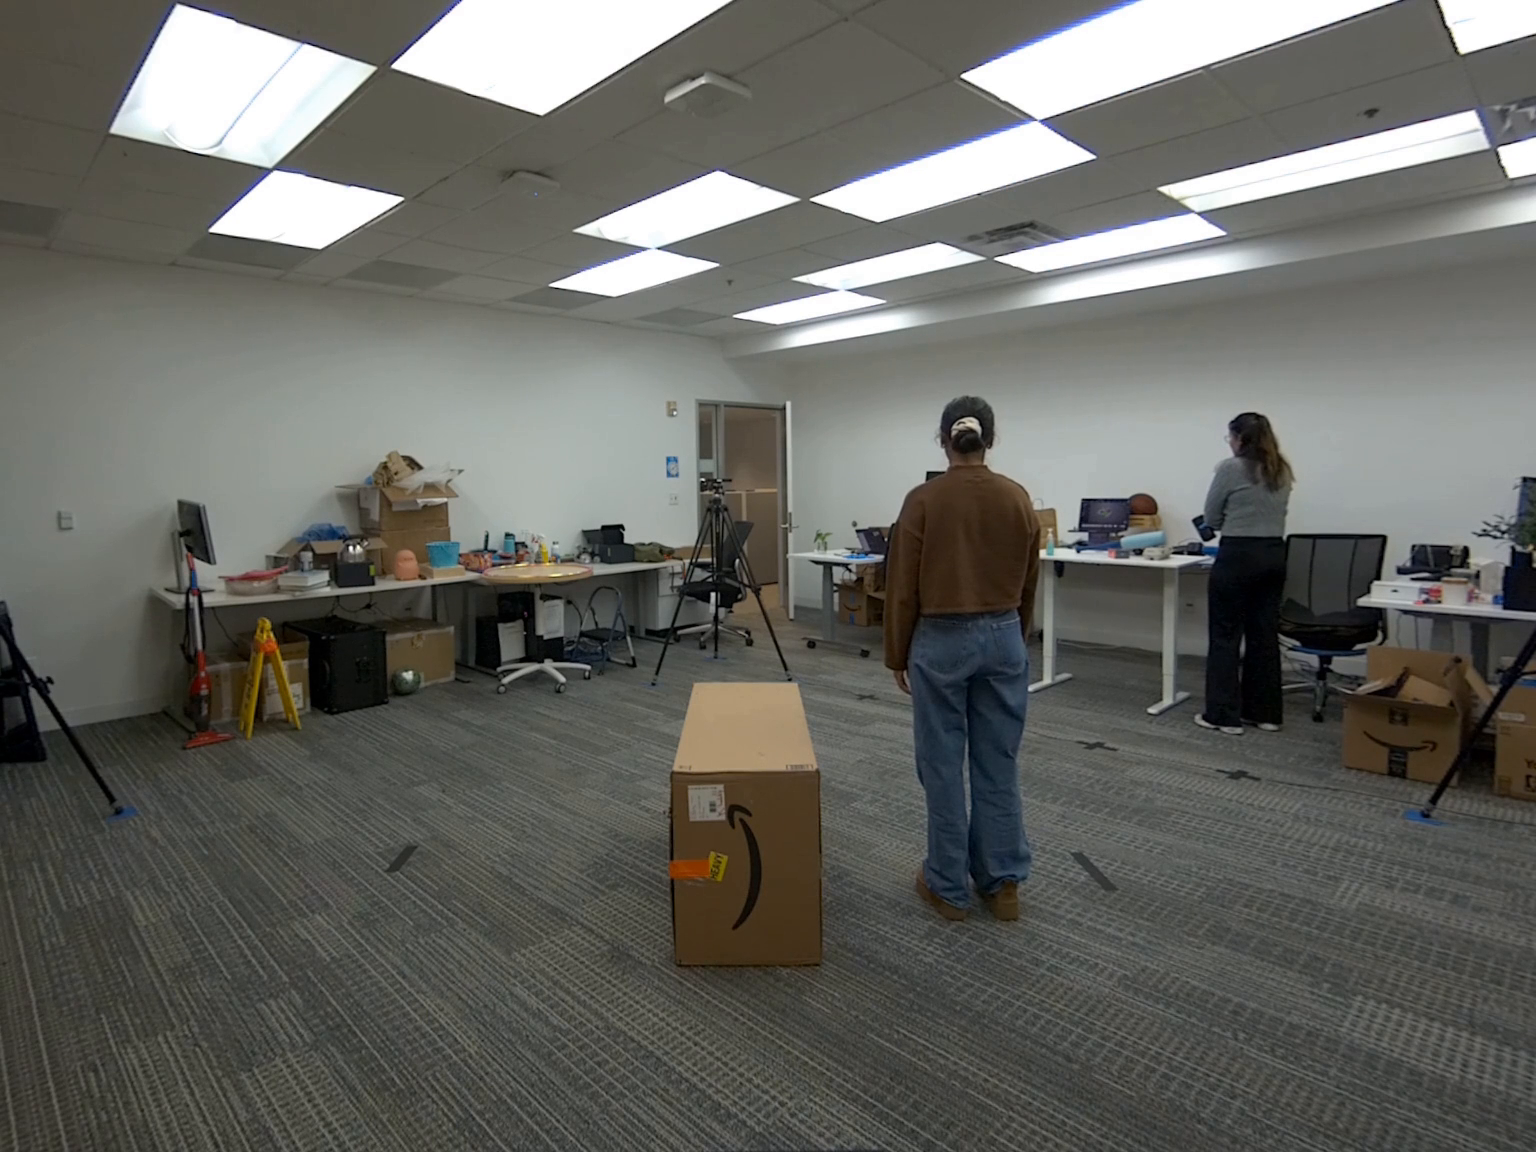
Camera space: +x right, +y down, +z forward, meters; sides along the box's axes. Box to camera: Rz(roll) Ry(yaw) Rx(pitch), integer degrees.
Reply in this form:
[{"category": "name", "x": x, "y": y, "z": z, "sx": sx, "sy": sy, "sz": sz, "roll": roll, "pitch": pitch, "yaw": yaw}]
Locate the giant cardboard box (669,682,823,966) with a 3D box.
[{"category": "giant cardboard box", "x": -0.074, "y": 0.777, "z": 2.941, "sx": 0.447, "sy": 0.581, "sz": 1.031, "roll": 0, "pitch": 6, "yaw": 0}]
